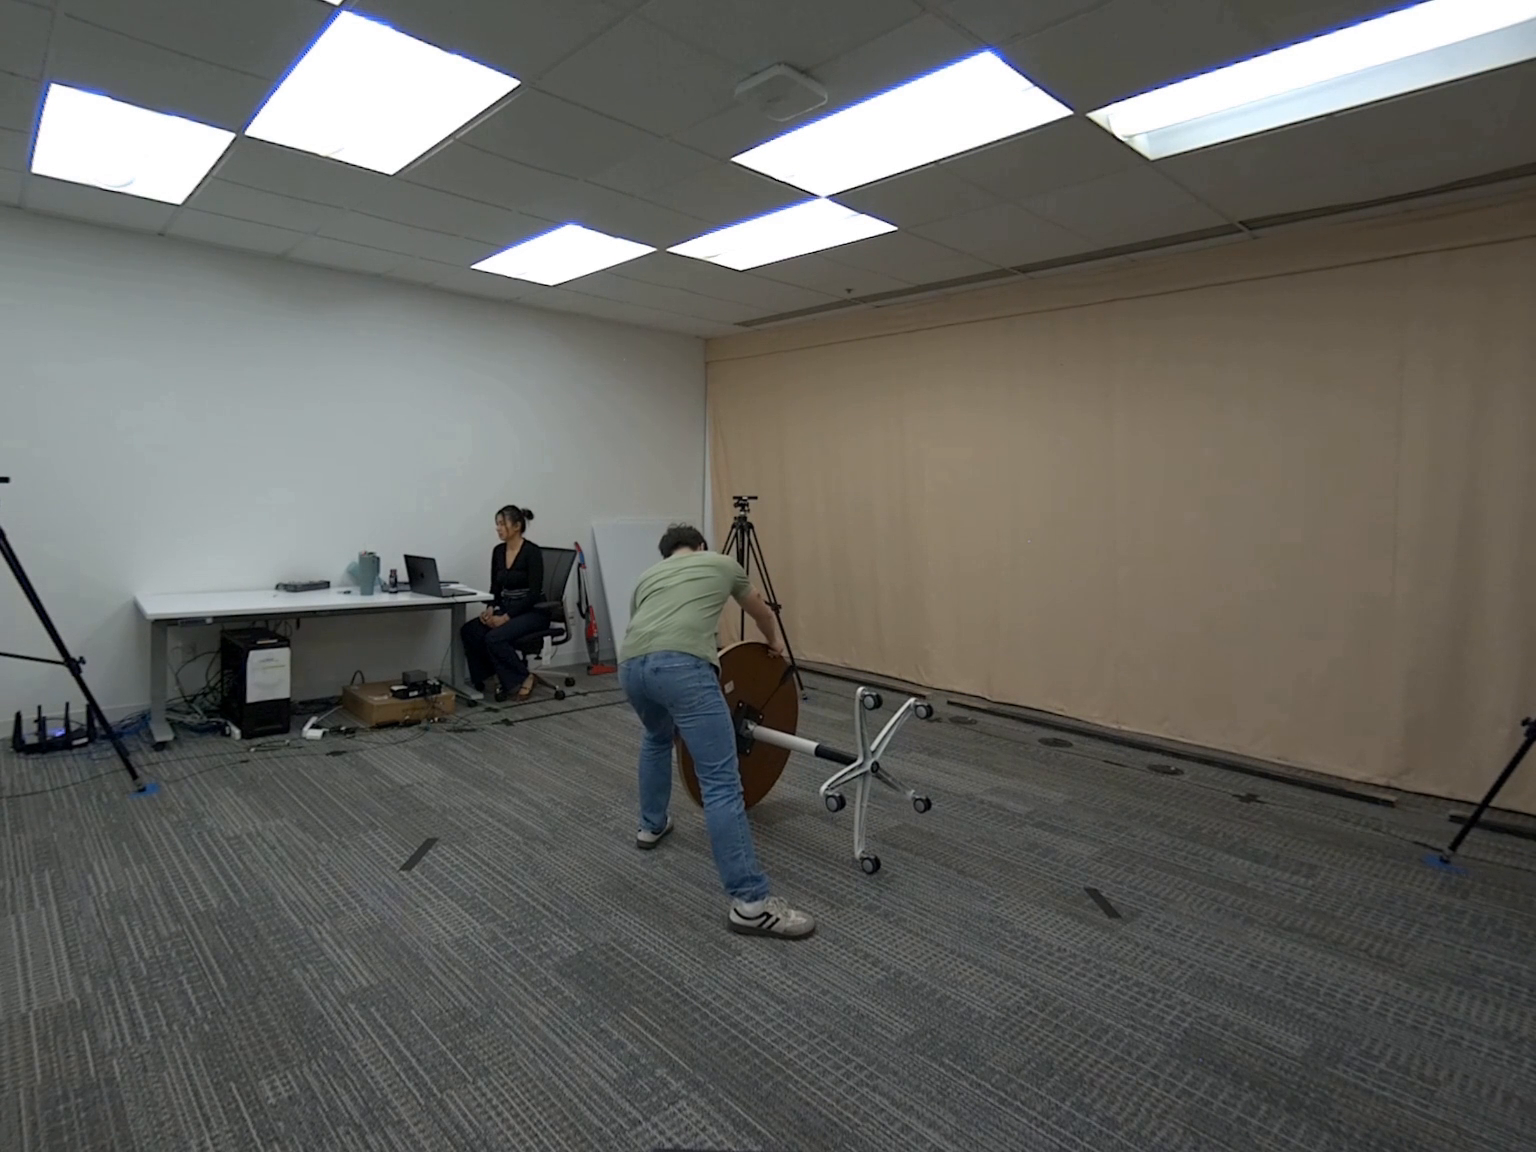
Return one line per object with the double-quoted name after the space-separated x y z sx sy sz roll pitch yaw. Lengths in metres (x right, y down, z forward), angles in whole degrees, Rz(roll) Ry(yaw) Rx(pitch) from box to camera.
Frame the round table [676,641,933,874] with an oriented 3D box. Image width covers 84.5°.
0.172 0.708 3.447 0.815 0.761 0.747 7 7 42 "round table"
